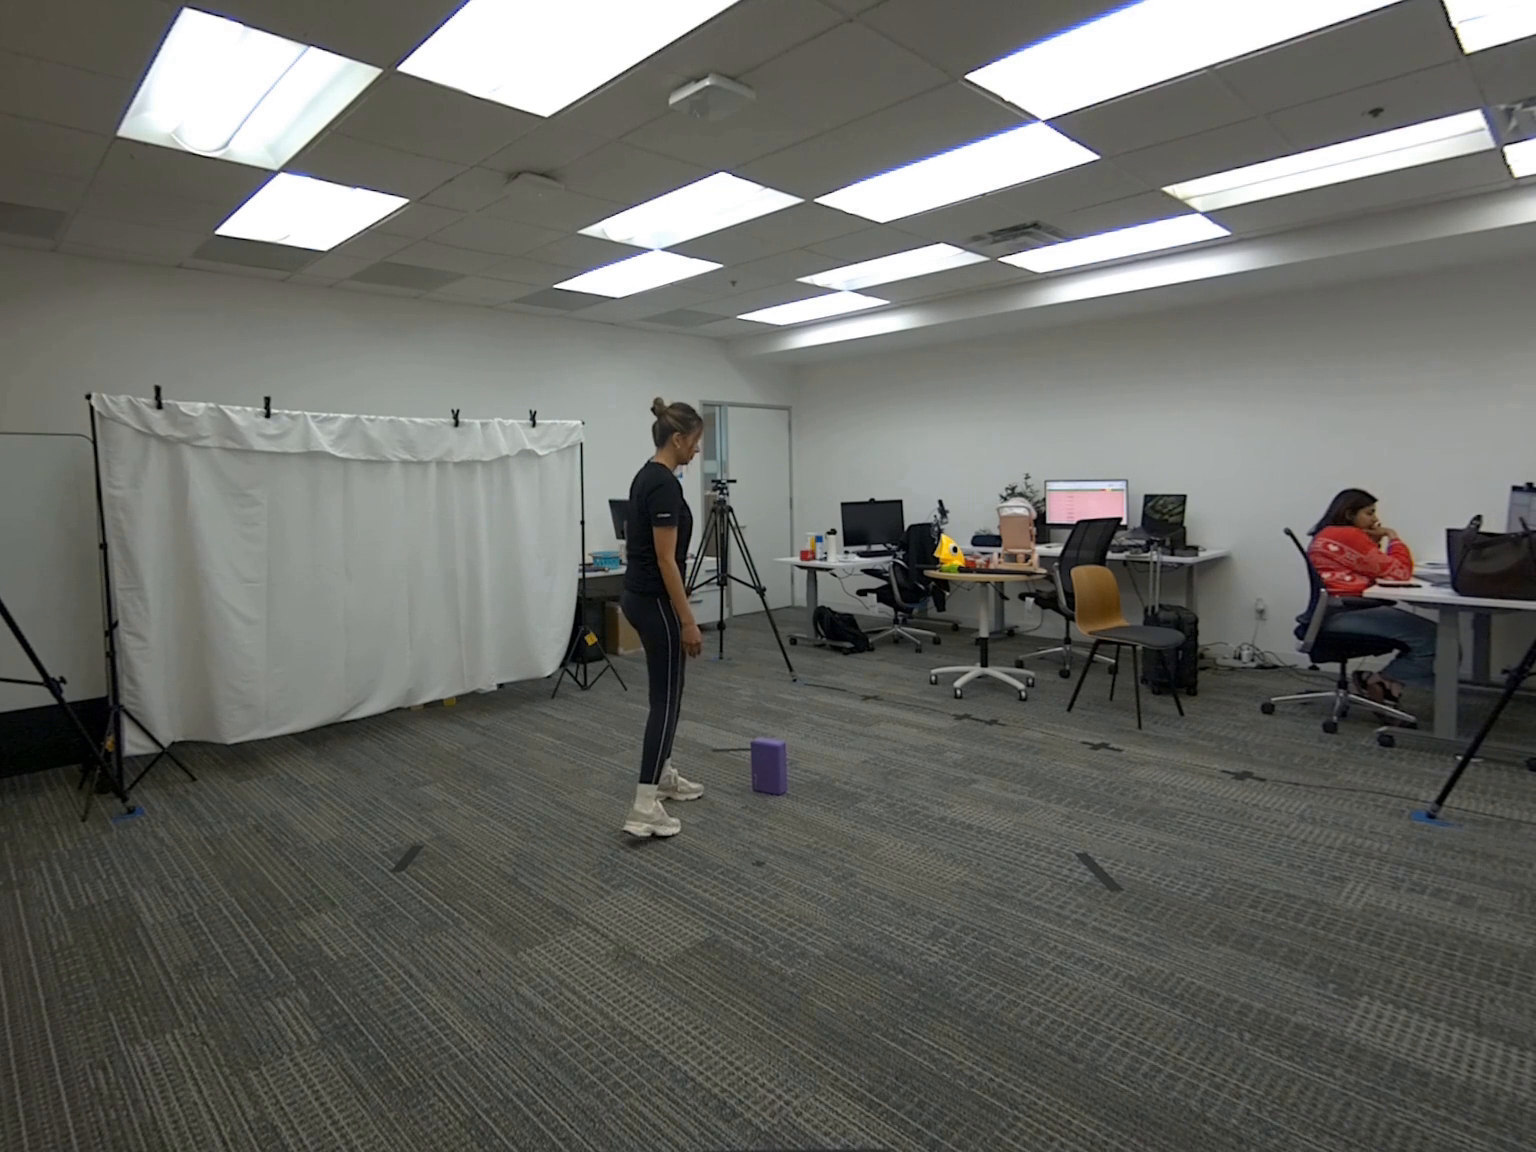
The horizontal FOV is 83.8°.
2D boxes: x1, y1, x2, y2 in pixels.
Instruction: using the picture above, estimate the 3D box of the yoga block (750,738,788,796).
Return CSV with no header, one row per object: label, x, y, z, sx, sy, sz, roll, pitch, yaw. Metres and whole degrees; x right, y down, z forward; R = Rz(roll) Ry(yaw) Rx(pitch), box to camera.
yoga block,0.002,0.844,3.820,0.153,0.228,0.075,3,6,30
